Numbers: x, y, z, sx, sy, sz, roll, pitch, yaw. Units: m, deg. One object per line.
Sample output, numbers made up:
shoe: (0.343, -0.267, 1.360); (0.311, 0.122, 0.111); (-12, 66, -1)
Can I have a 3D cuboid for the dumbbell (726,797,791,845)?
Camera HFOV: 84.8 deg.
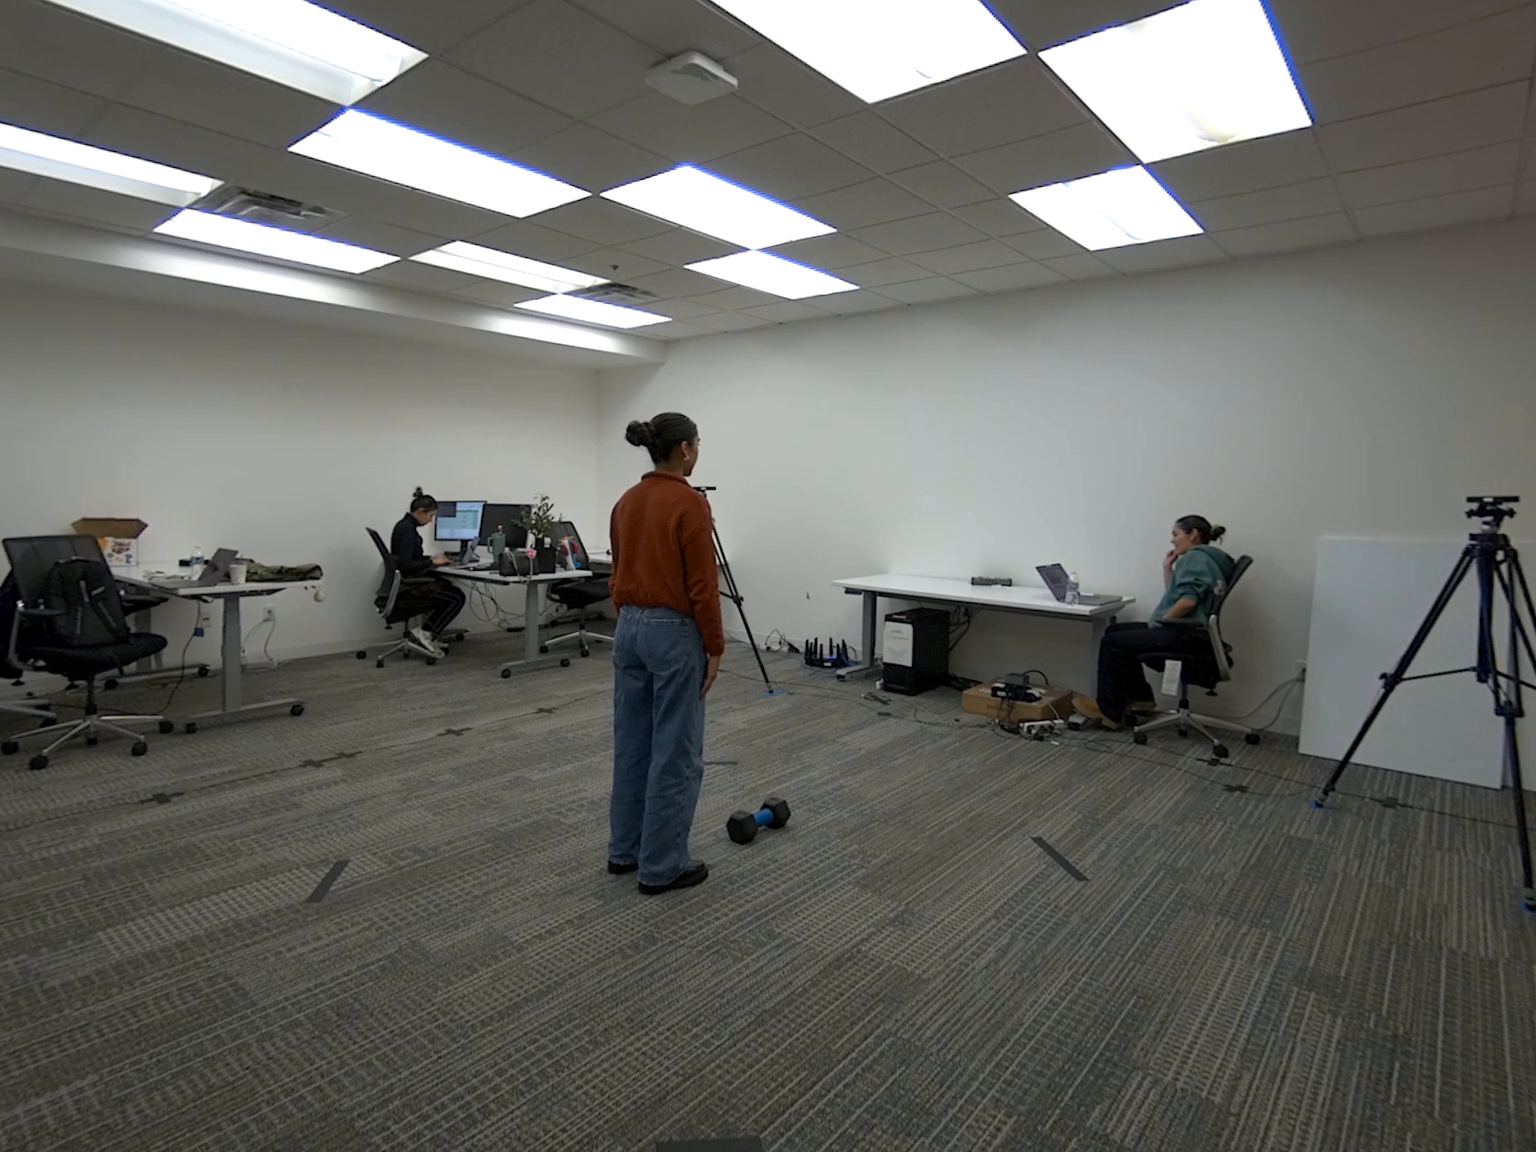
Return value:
dumbbell: (-0.048, 0.980, 3.436); (0.127, 0.108, 0.285); (4, 6, 40)
